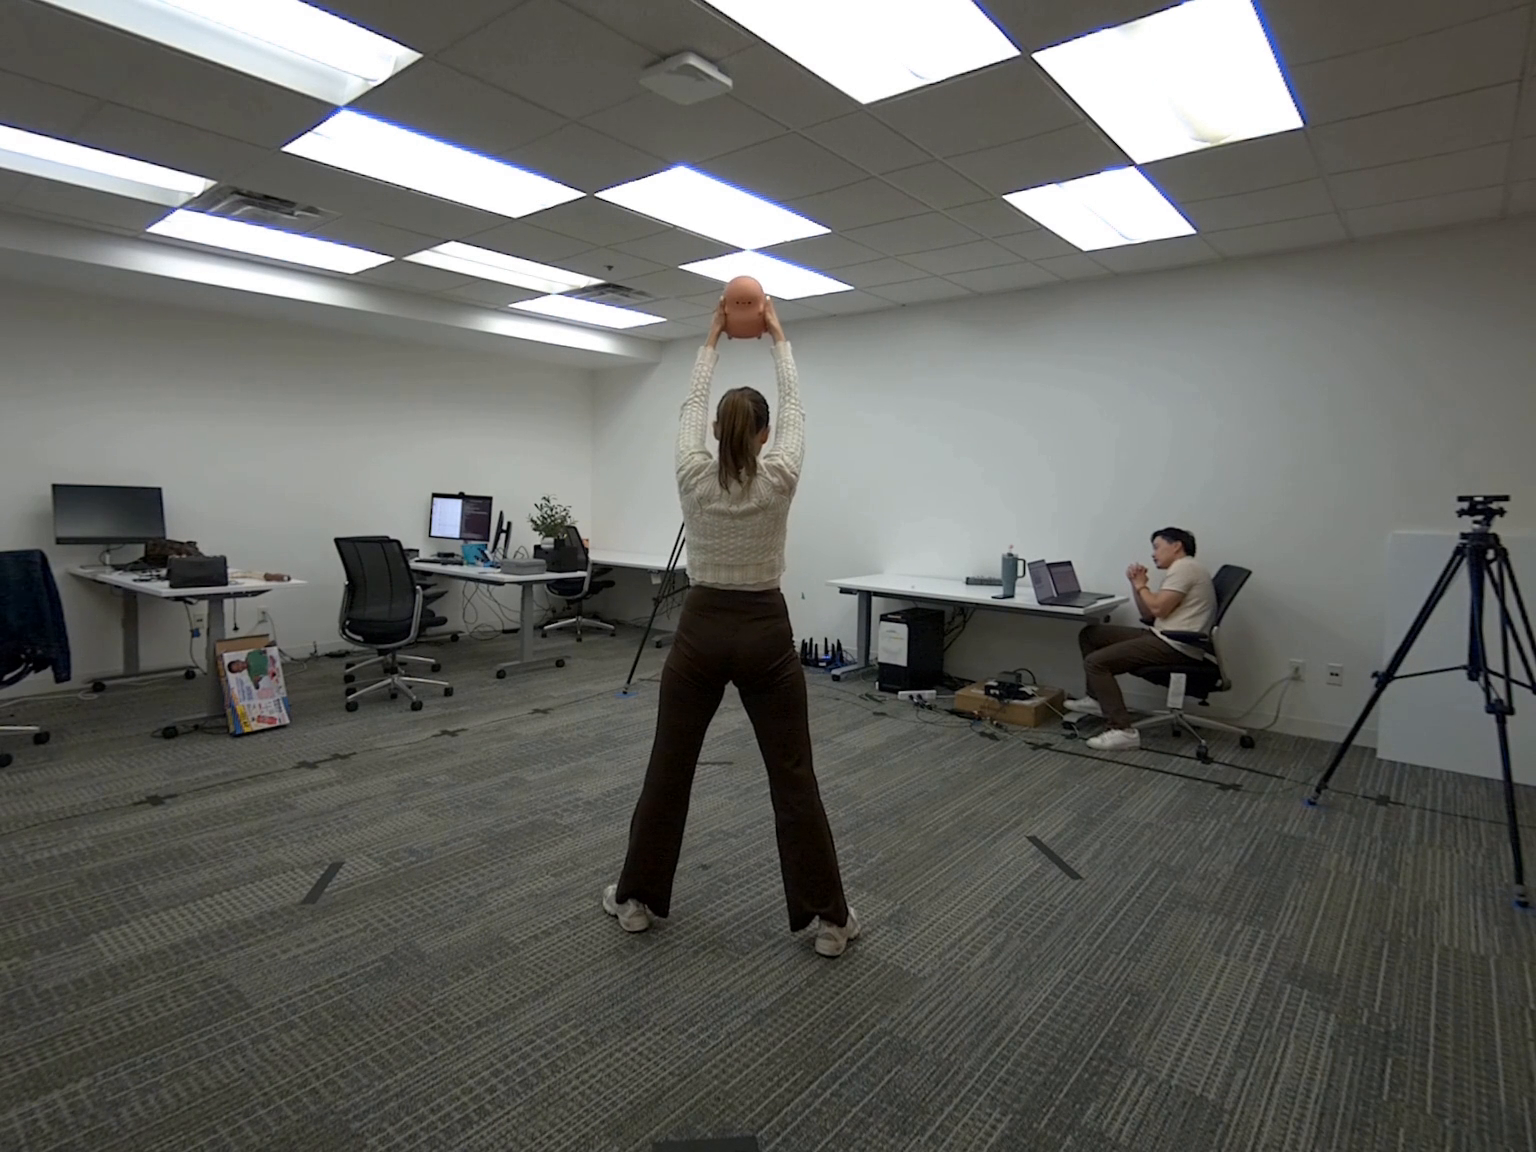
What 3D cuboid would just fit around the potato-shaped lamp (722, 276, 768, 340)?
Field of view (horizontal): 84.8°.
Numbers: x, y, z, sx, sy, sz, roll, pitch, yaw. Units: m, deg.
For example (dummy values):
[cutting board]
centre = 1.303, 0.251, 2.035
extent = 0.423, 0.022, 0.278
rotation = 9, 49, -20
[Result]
[potato-shaped lamp]
centre = -0.085, -0.918, 2.884
extent = 0.165, 0.192, 0.176
rotation = 3, 47, 1
